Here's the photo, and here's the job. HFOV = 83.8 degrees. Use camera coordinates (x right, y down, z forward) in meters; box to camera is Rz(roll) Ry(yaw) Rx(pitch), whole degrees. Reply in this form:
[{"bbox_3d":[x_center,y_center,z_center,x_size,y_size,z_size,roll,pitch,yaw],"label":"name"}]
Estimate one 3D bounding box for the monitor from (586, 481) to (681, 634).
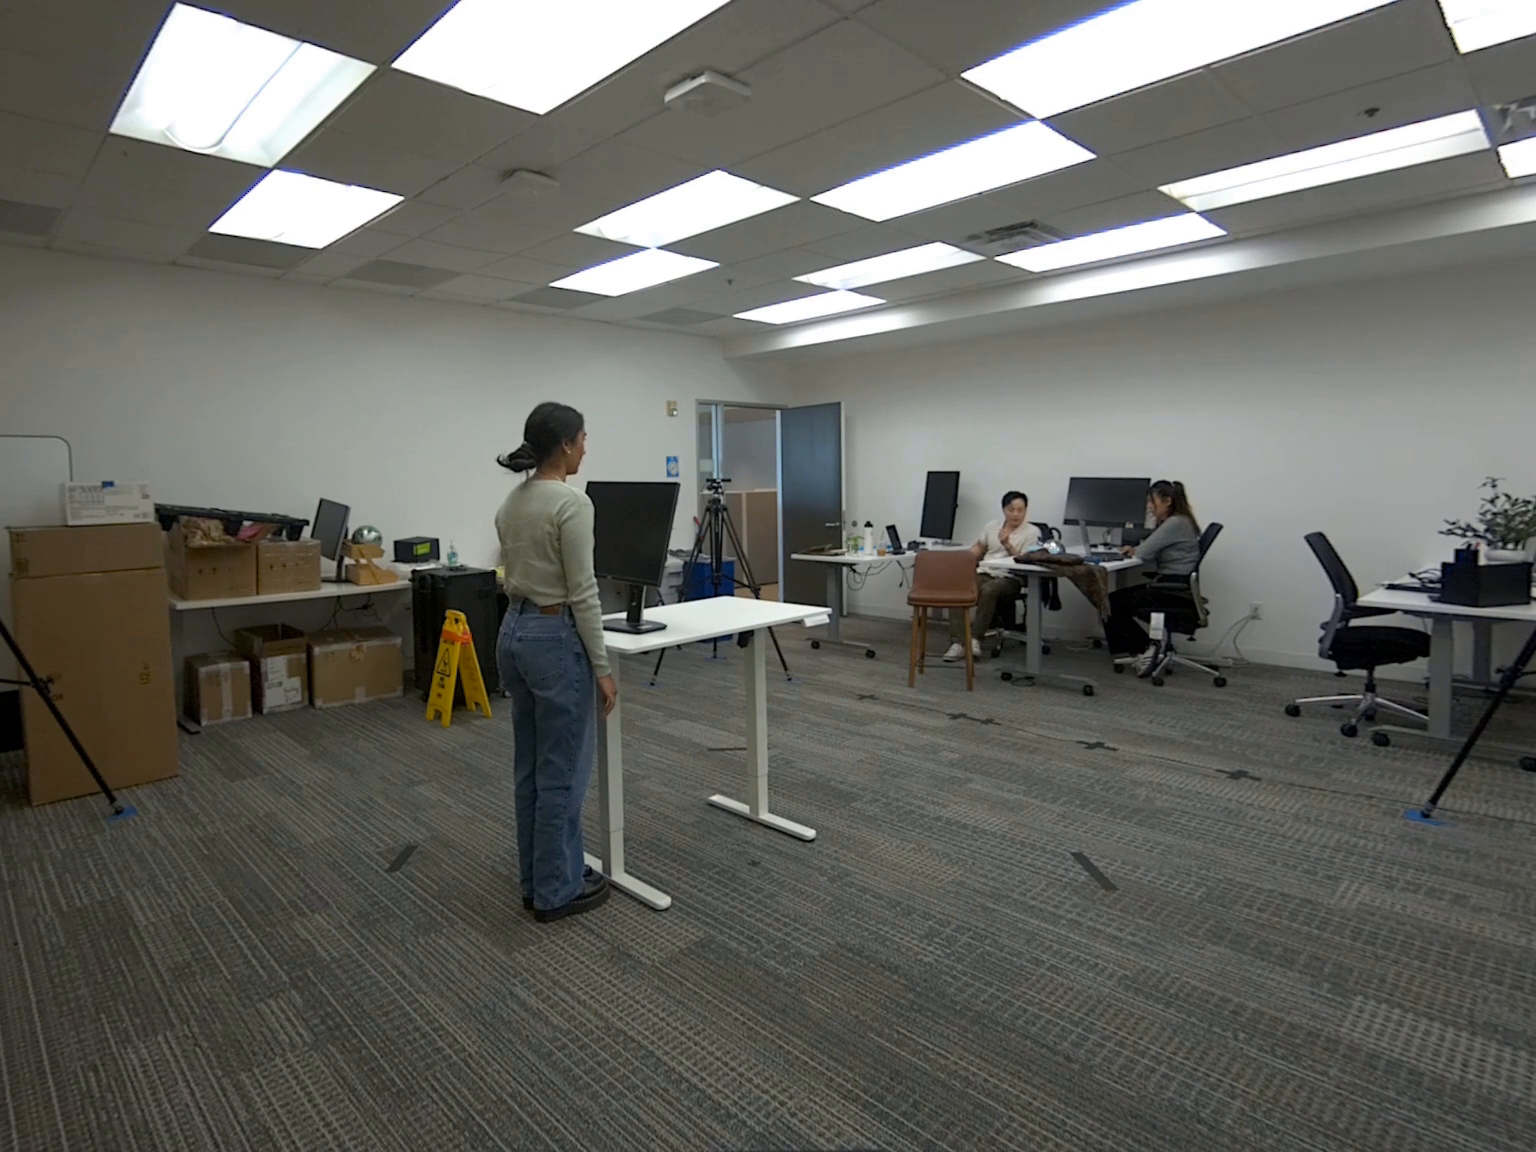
[{"bbox_3d":[-0.486,-0.067,3.002,0.556,0.521,0.182,5,4,44],"label":"monitor"}]
